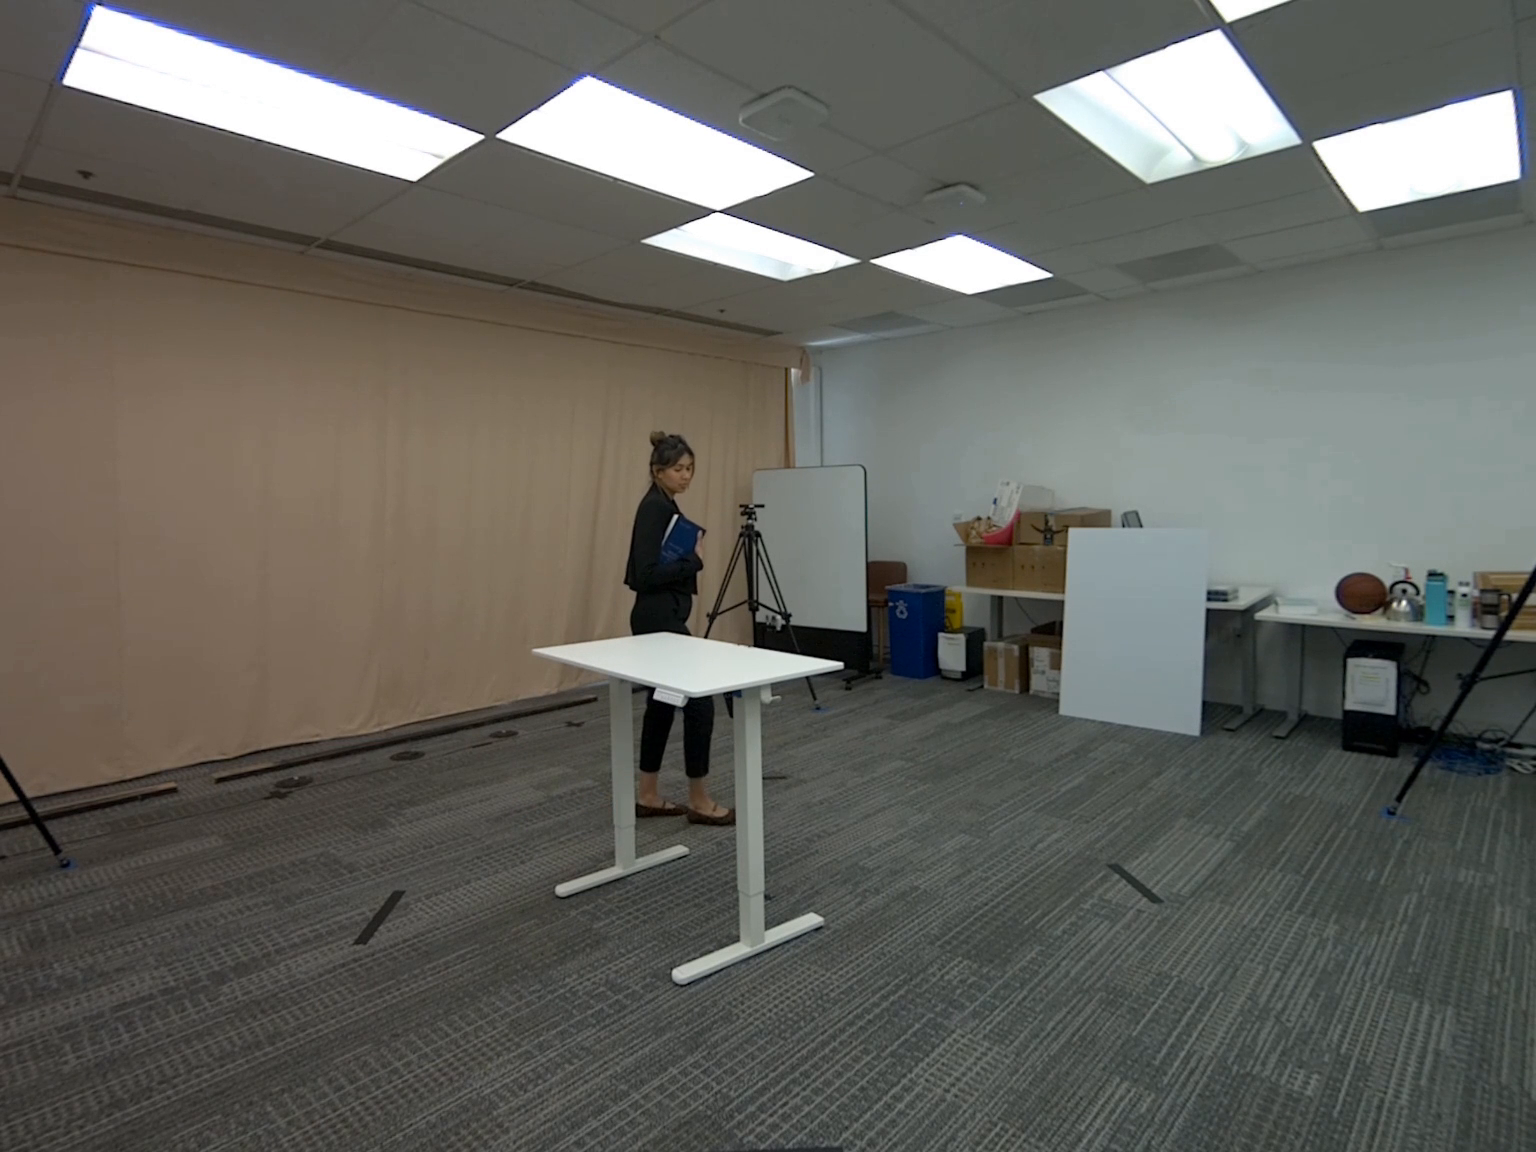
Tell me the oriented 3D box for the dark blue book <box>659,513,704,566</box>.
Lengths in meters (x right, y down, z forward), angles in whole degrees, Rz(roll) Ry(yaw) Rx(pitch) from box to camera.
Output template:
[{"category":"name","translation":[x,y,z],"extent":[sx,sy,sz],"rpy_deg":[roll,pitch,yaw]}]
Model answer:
[{"category":"dark blue book","translation":[-0.379,-0.120,3.590],"extent":[0.158,0.245,0.047],"rpy_deg":[29,-5,-33]}]
